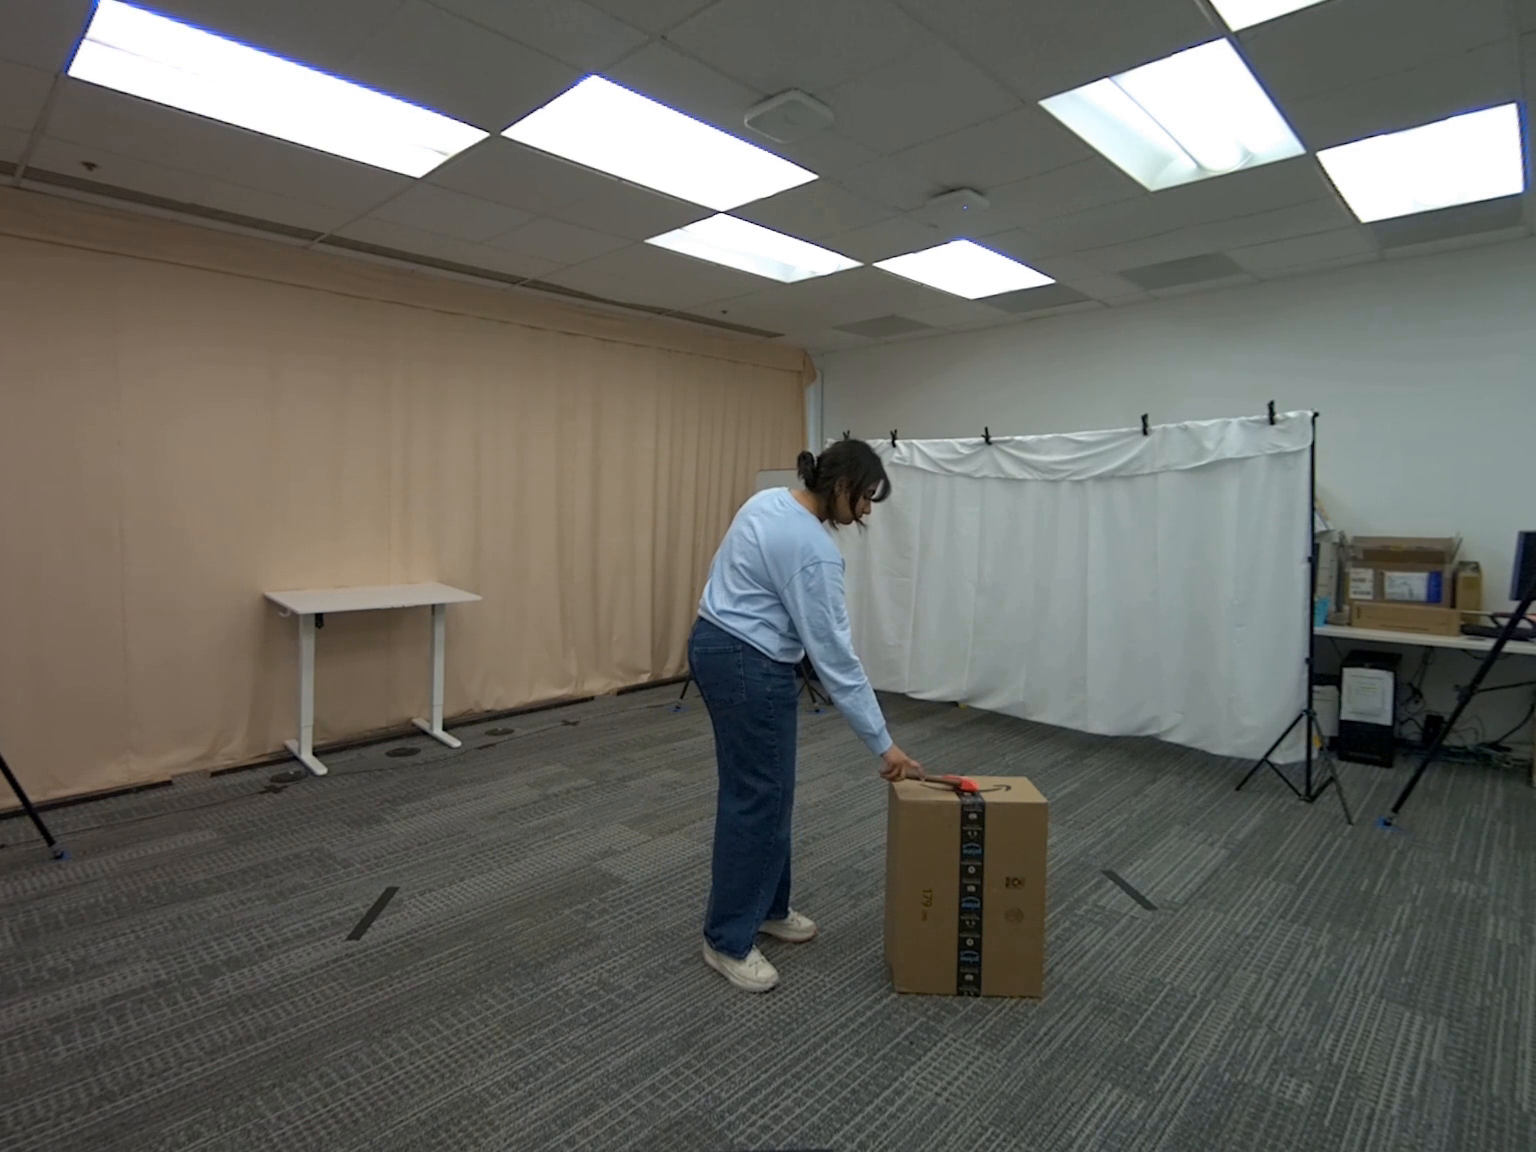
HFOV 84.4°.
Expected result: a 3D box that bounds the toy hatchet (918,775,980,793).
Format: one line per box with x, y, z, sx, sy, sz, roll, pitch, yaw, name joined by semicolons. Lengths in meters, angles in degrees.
0.483;0.593;2.472;0.274;0.029;0.129;11;1;12;toy hatchet
